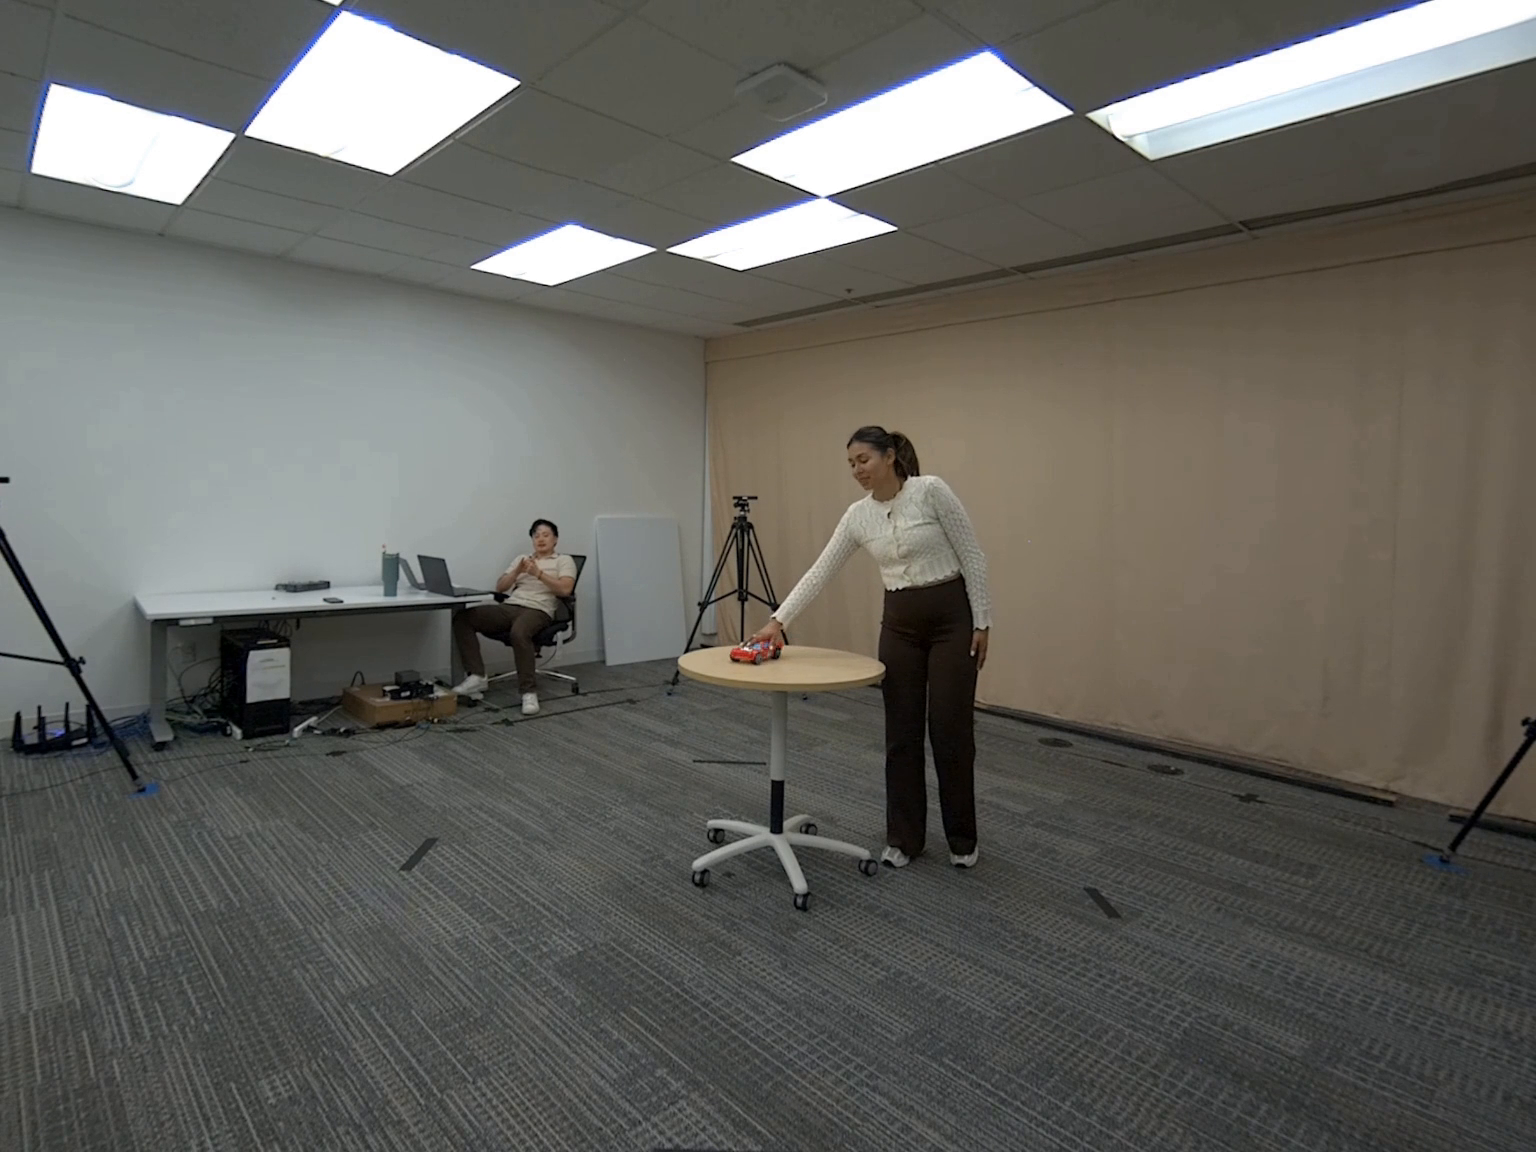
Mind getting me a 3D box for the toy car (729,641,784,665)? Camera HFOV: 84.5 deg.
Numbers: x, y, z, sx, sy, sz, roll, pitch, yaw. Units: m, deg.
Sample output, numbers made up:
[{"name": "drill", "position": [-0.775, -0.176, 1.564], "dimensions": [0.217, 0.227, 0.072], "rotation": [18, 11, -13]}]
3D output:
[{"name": "toy car", "position": [-0.046, 0.286, 3.166], "dimensions": [0.133, 0.082, 0.252], "rotation": [2, 14, 25]}]
